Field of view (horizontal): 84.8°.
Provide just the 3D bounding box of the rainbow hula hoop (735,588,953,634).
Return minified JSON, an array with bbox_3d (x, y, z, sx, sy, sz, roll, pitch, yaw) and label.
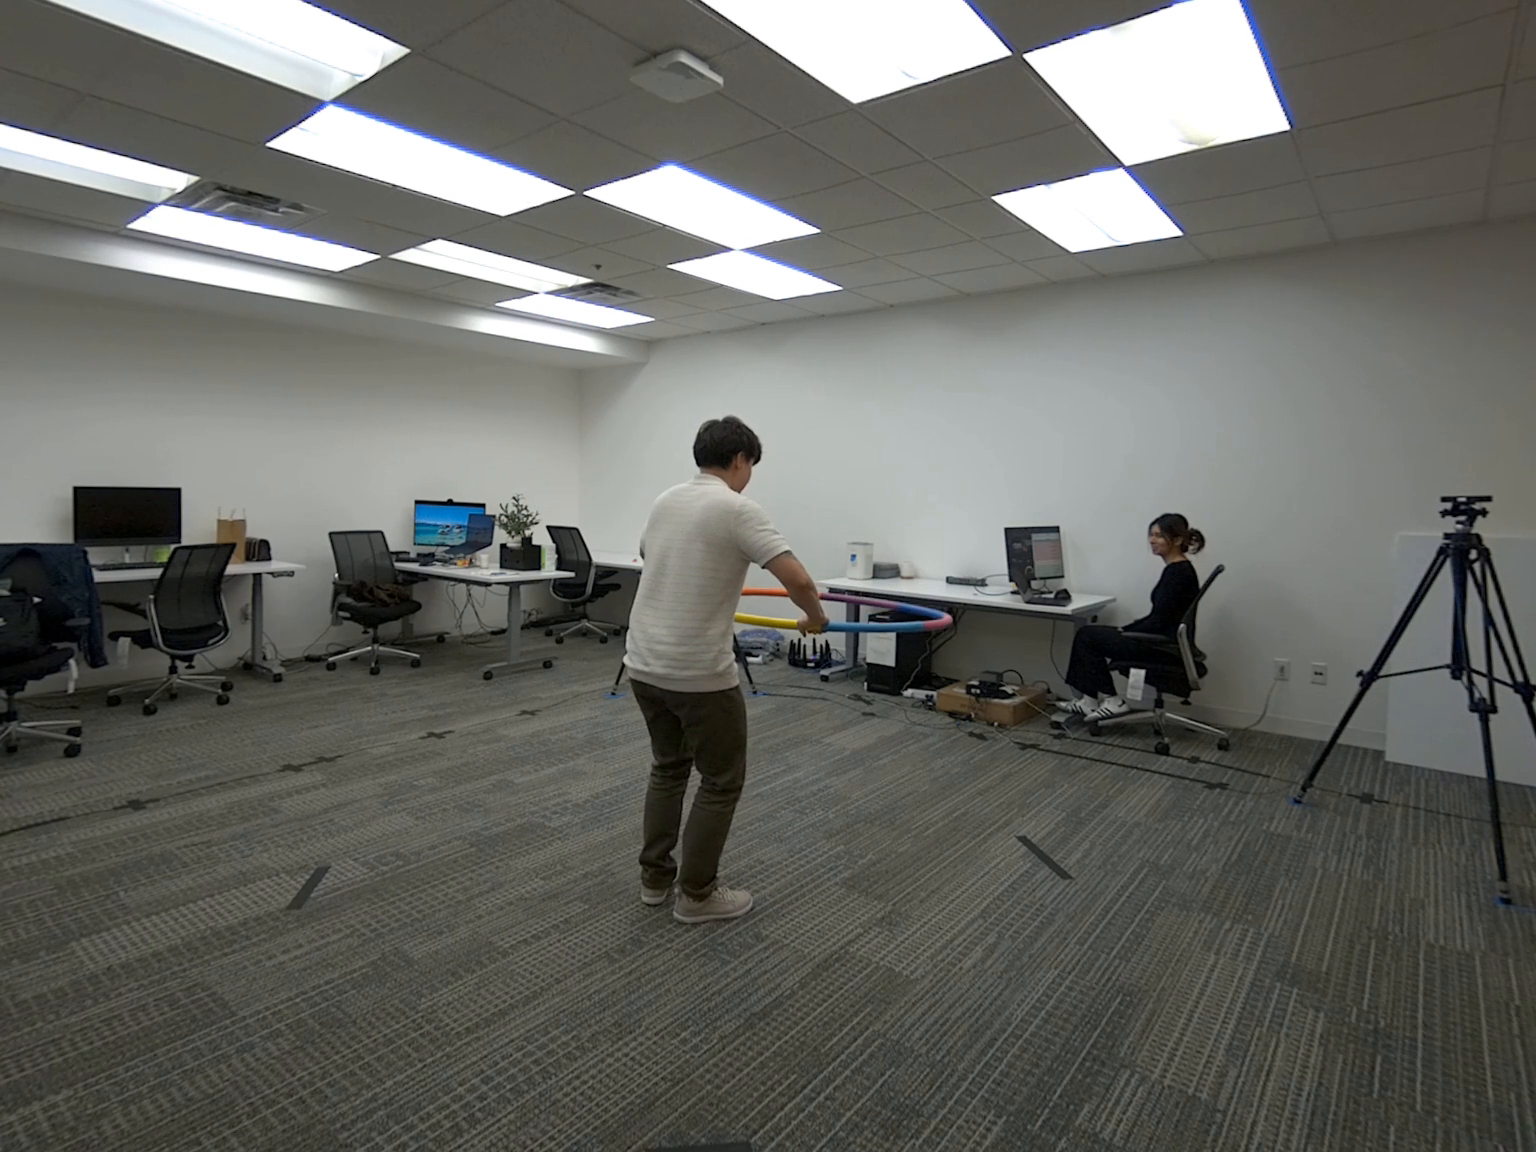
[{"bbox_3d":[0.201,0.132,3.299,0.978,0.035,0.984,3,5,-2],"label":"rainbow hula hoop"}]
